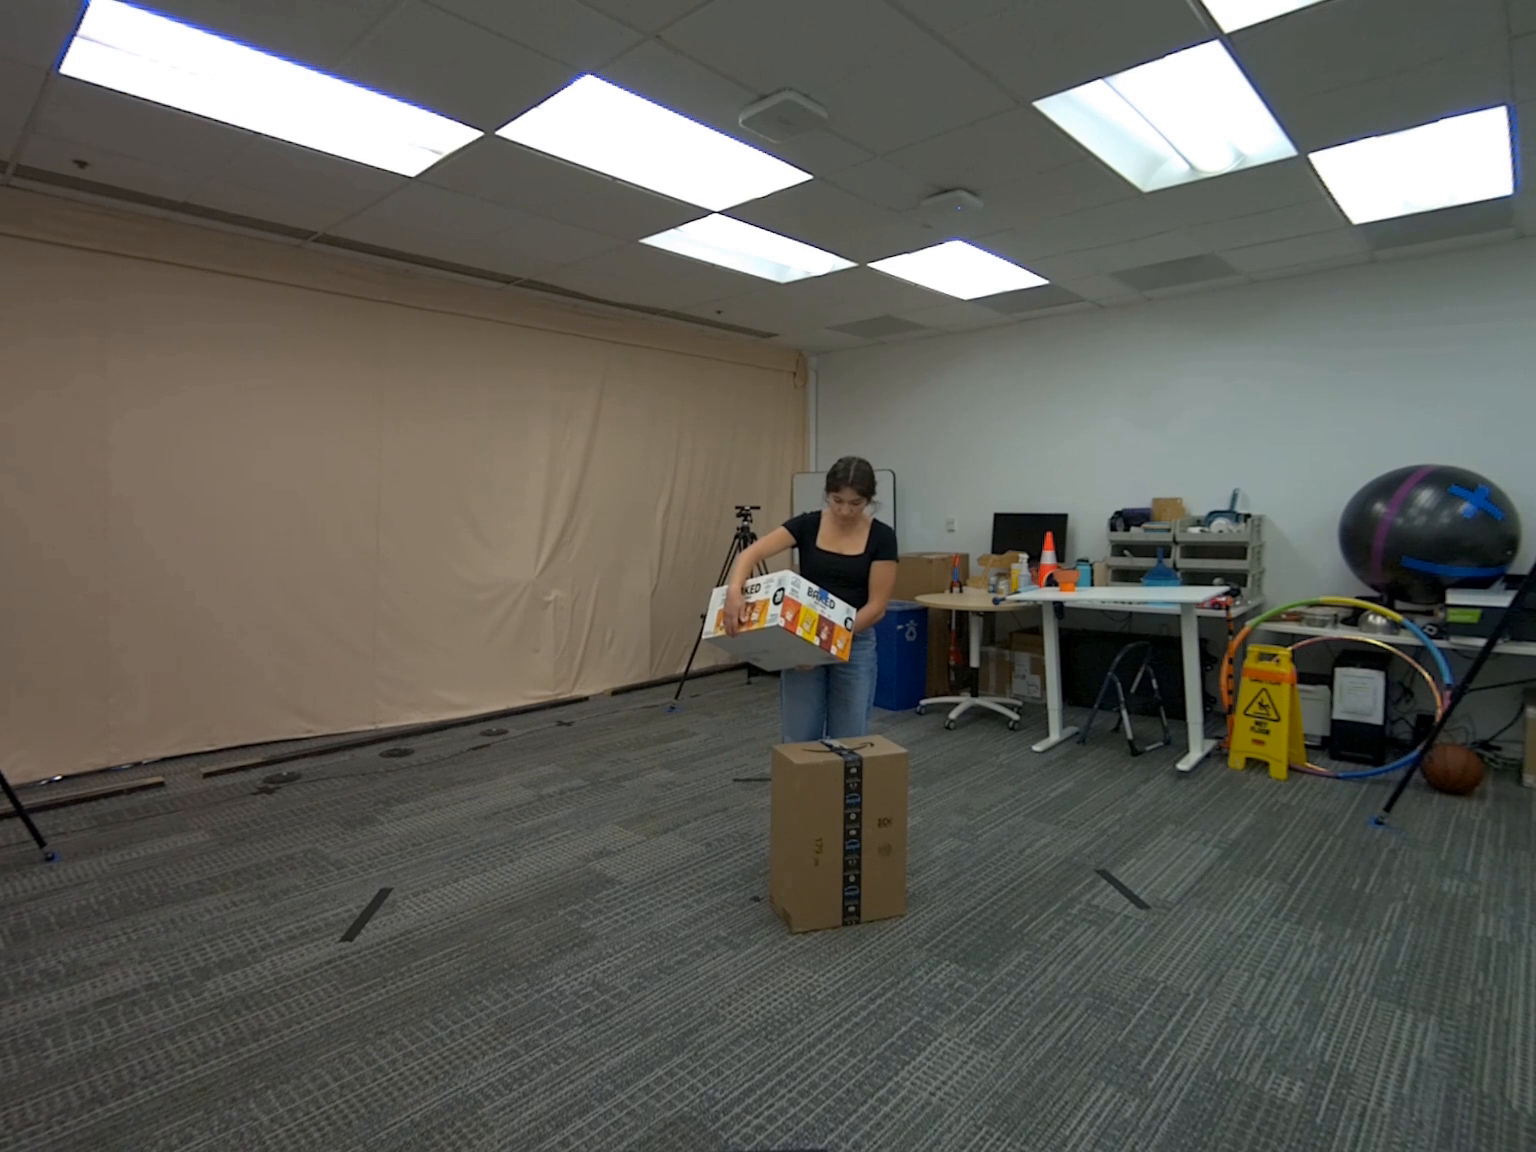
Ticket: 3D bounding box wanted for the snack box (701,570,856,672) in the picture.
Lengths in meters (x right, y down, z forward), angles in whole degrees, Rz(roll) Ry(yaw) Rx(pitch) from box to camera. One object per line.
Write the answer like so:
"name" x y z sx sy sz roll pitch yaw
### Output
"snack box" 0.039 0.173 3.004 0.329 0.207 0.415 30 -29 -33
